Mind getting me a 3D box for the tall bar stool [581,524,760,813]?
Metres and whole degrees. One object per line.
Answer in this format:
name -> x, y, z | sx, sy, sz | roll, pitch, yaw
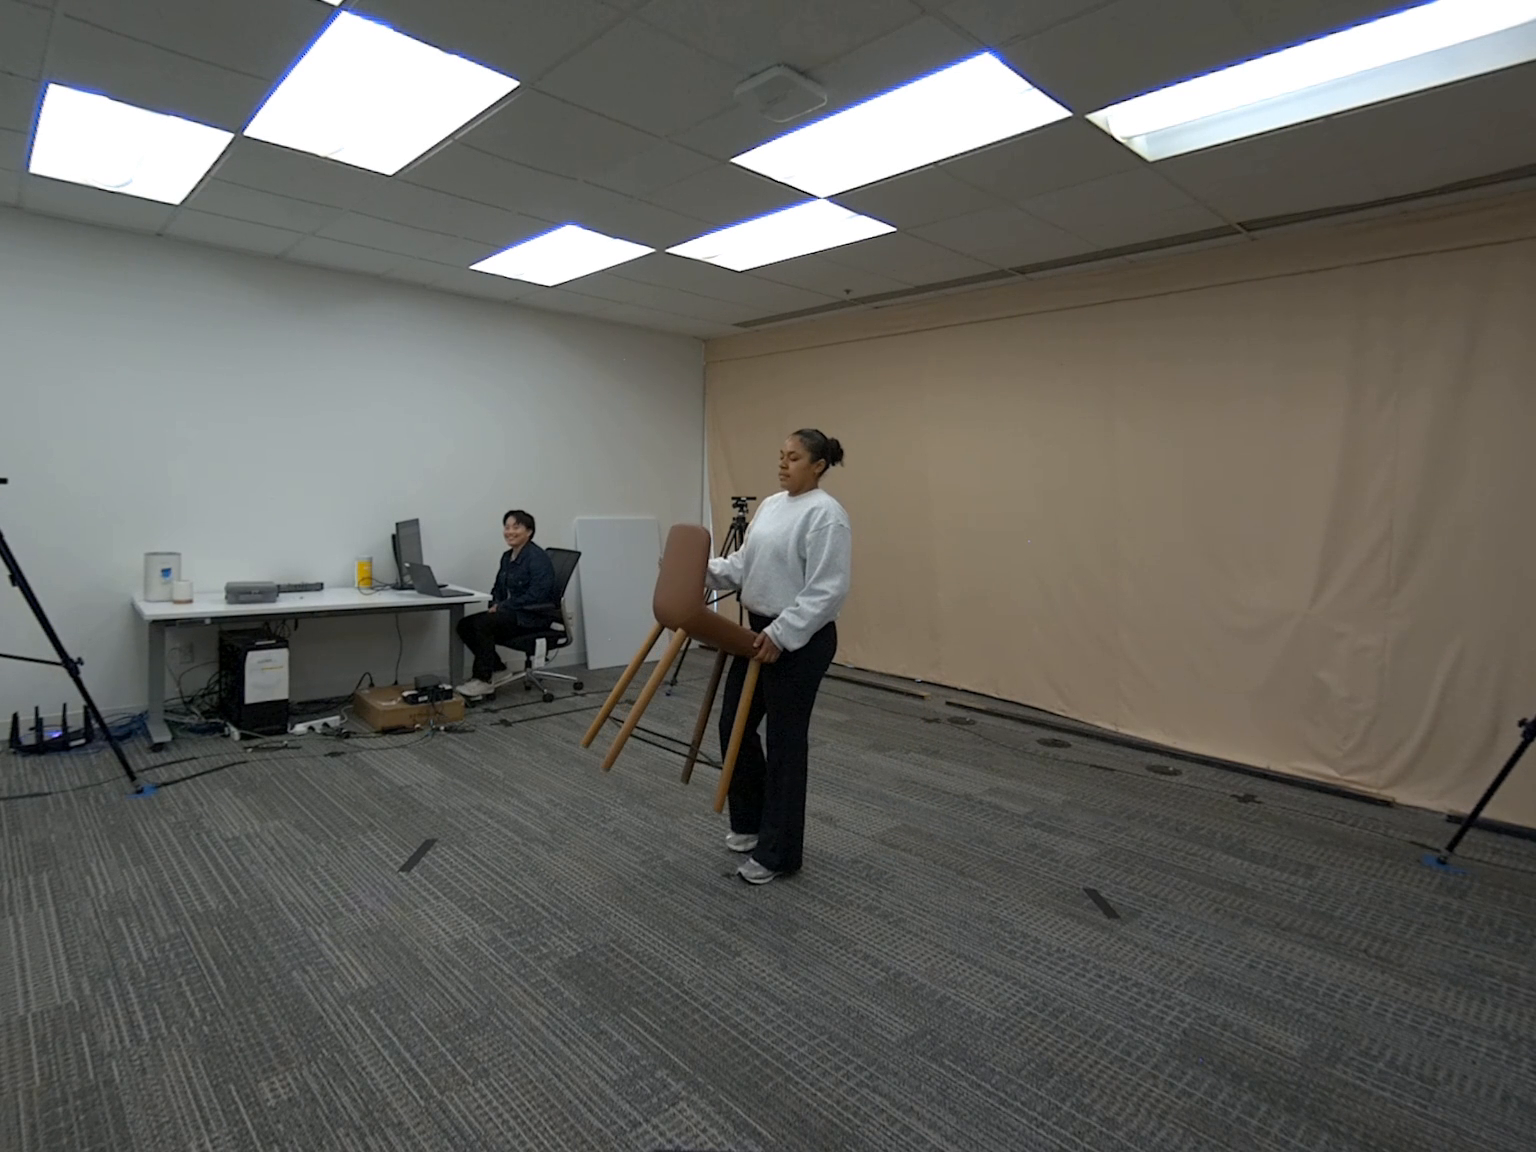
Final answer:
tall bar stool -> -0.276, 0.315, 3.015 | 0.459, 0.893, 0.464 | 23, -9, -20
